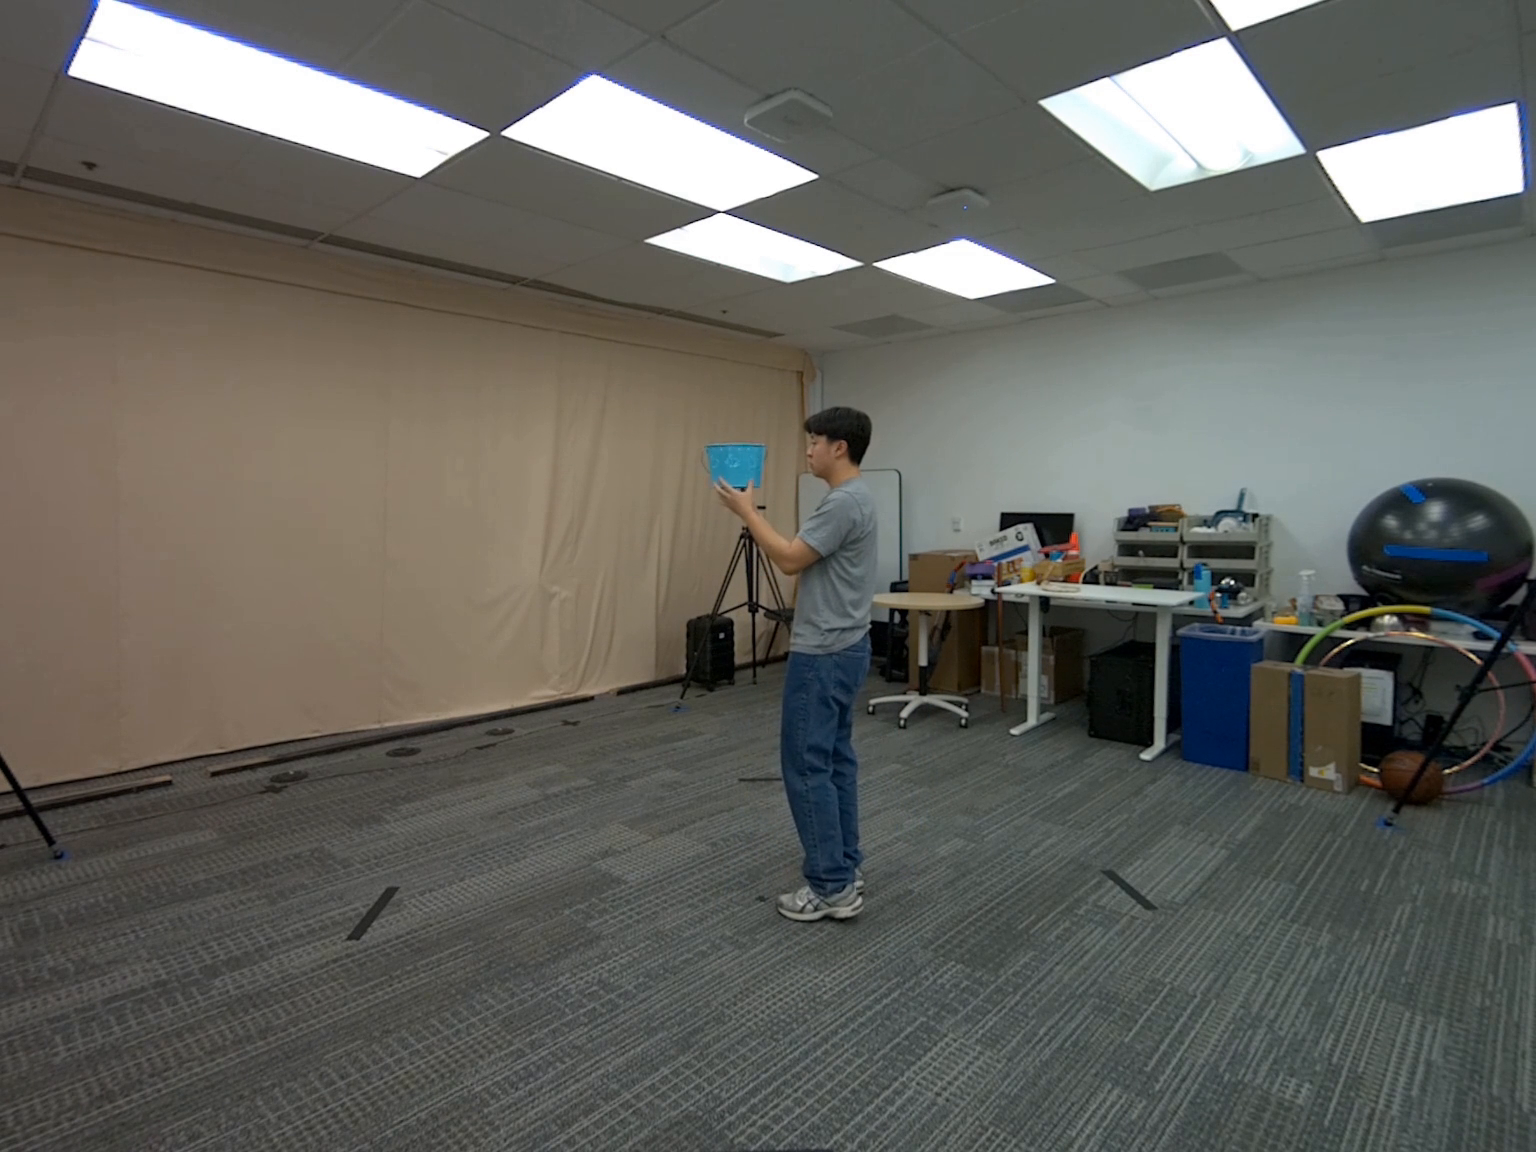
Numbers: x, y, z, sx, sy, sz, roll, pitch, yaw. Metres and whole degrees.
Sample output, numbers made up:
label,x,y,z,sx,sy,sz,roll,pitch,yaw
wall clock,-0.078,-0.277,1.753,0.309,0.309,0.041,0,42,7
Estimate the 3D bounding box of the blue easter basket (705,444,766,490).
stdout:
label,x,y,z,sx,sy,sz,roll,pitch,yaw
blue easter basket,-0.118,-0.401,3.112,0.243,0.156,0.244,-2,3,-2
